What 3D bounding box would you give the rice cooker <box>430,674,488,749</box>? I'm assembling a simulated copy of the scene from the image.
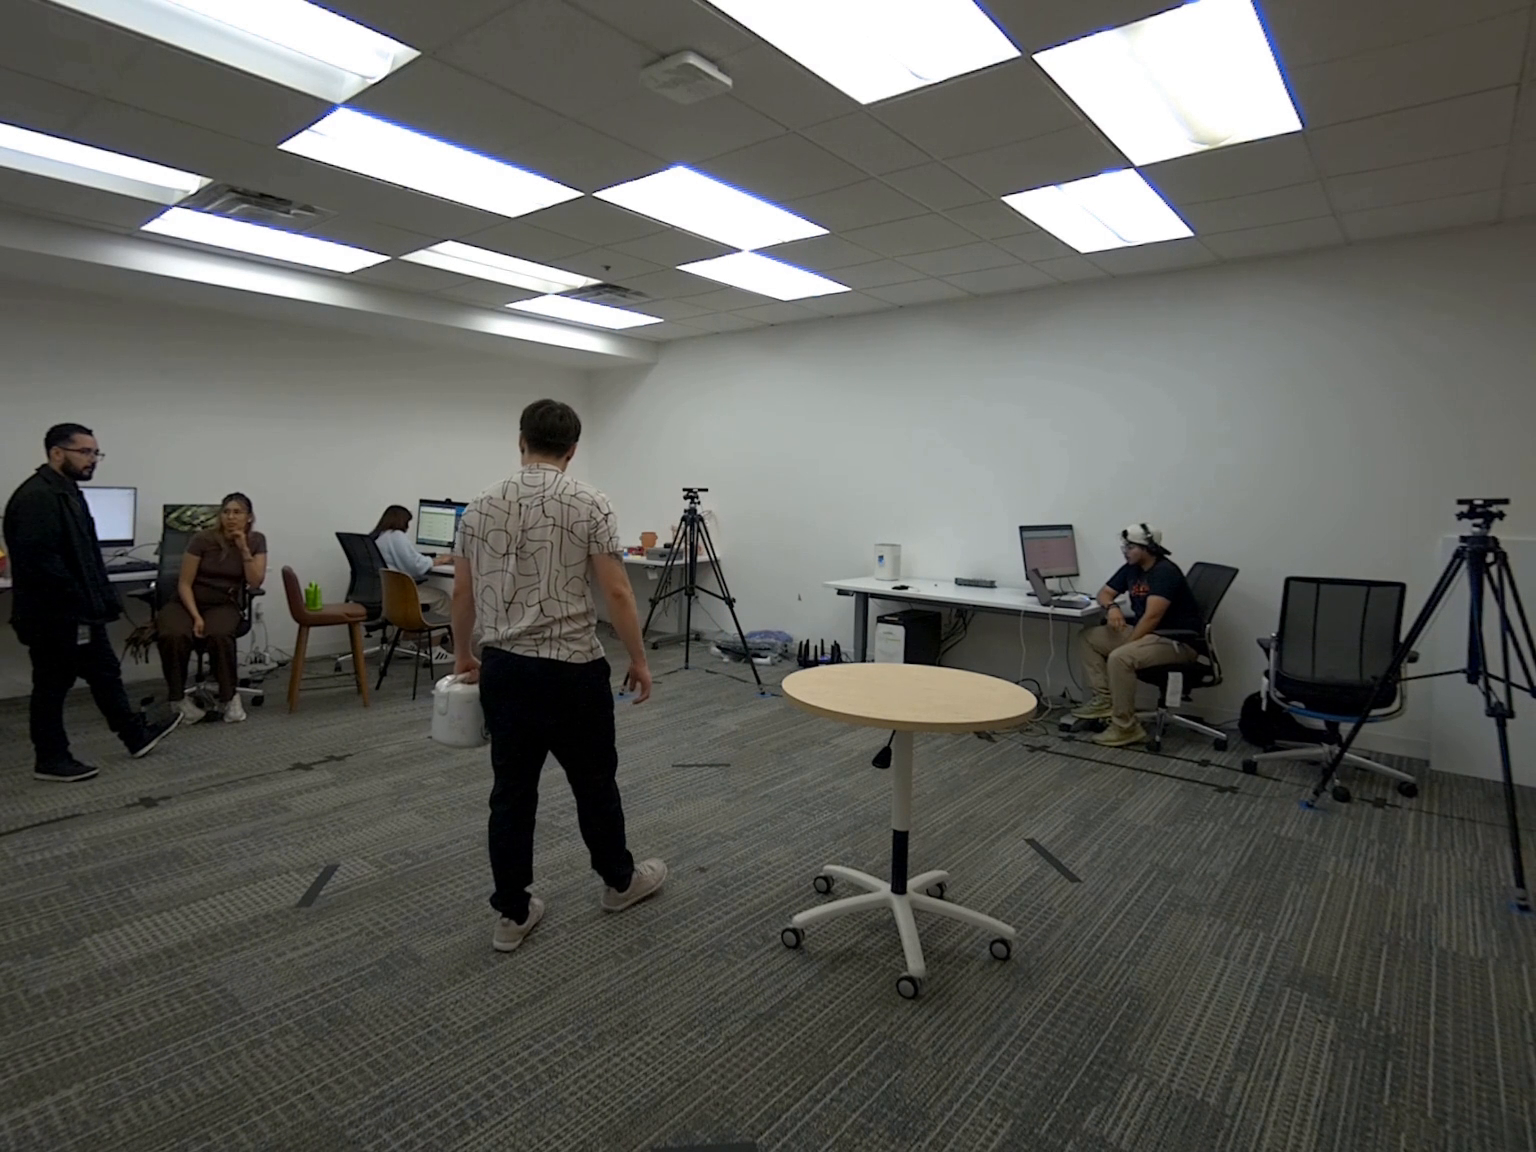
[{"bbox_3d":[-0.997,0.423,2.789,0.224,0.232,0.215,8,5,29],"label":"rice cooker"}]
